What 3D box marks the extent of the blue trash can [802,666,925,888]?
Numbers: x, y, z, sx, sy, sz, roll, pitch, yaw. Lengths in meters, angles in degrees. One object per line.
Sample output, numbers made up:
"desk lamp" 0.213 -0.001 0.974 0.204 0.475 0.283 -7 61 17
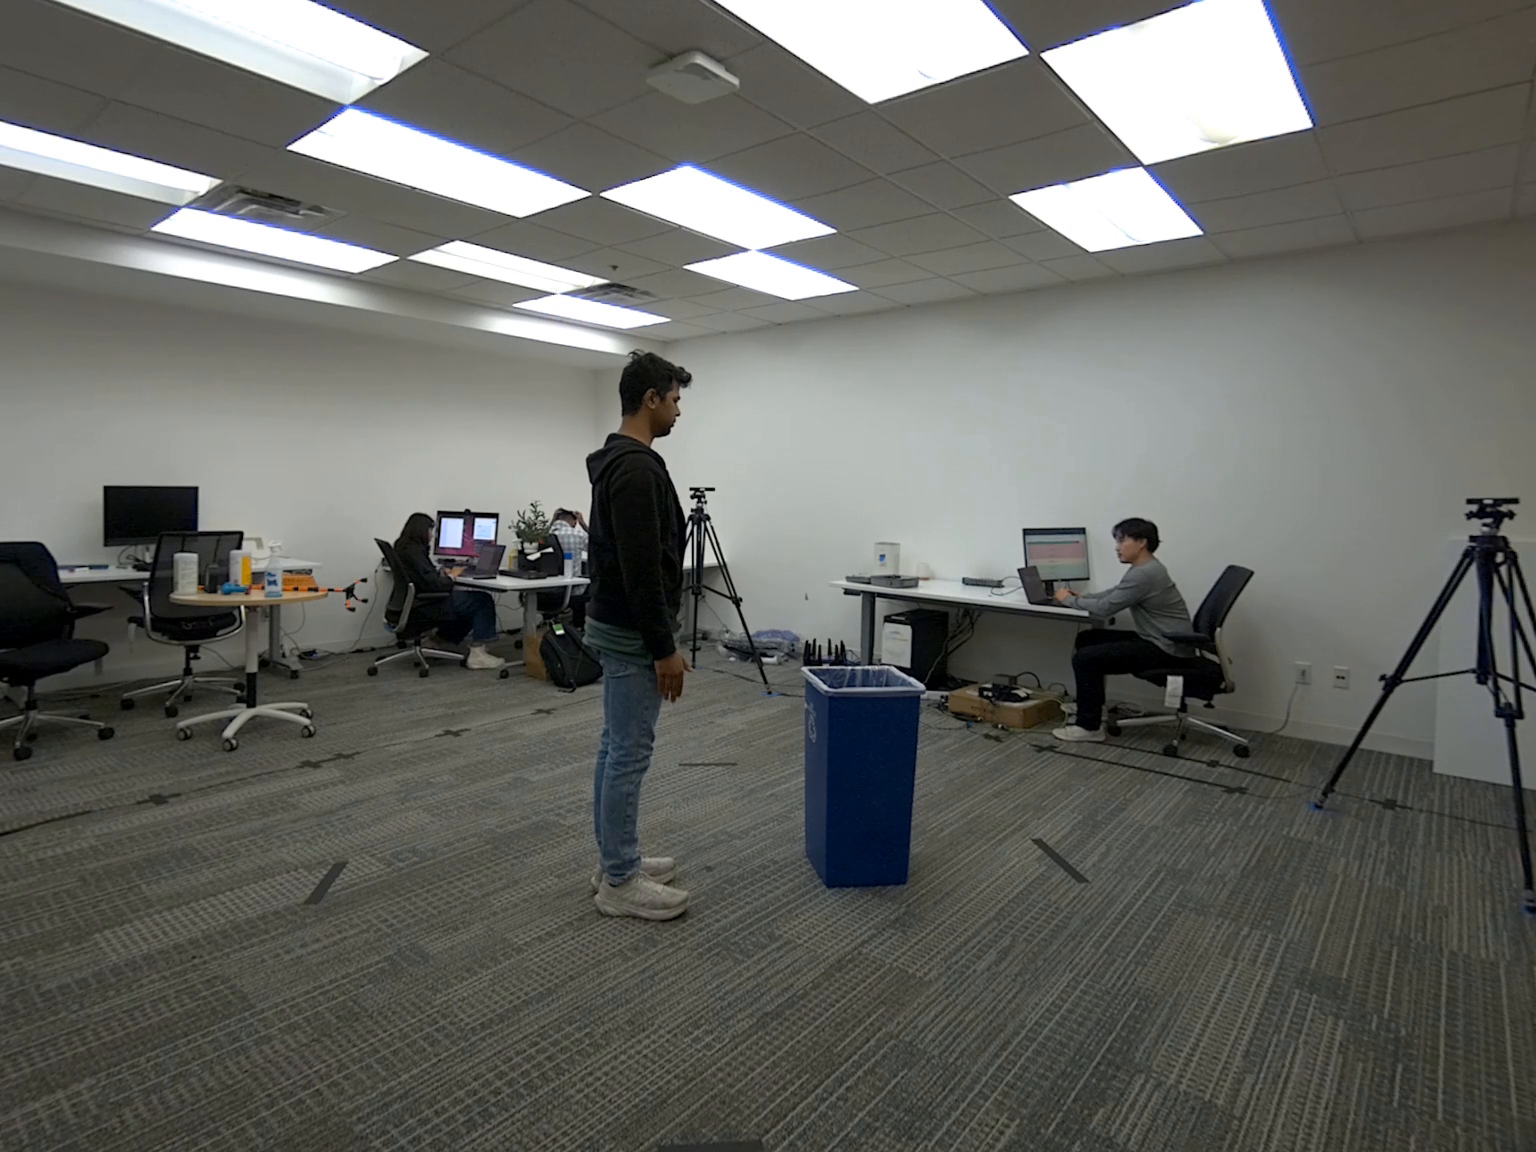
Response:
"blue trash can" 0.319 0.721 3.117 0.370 0.711 0.384 1 4 -11
